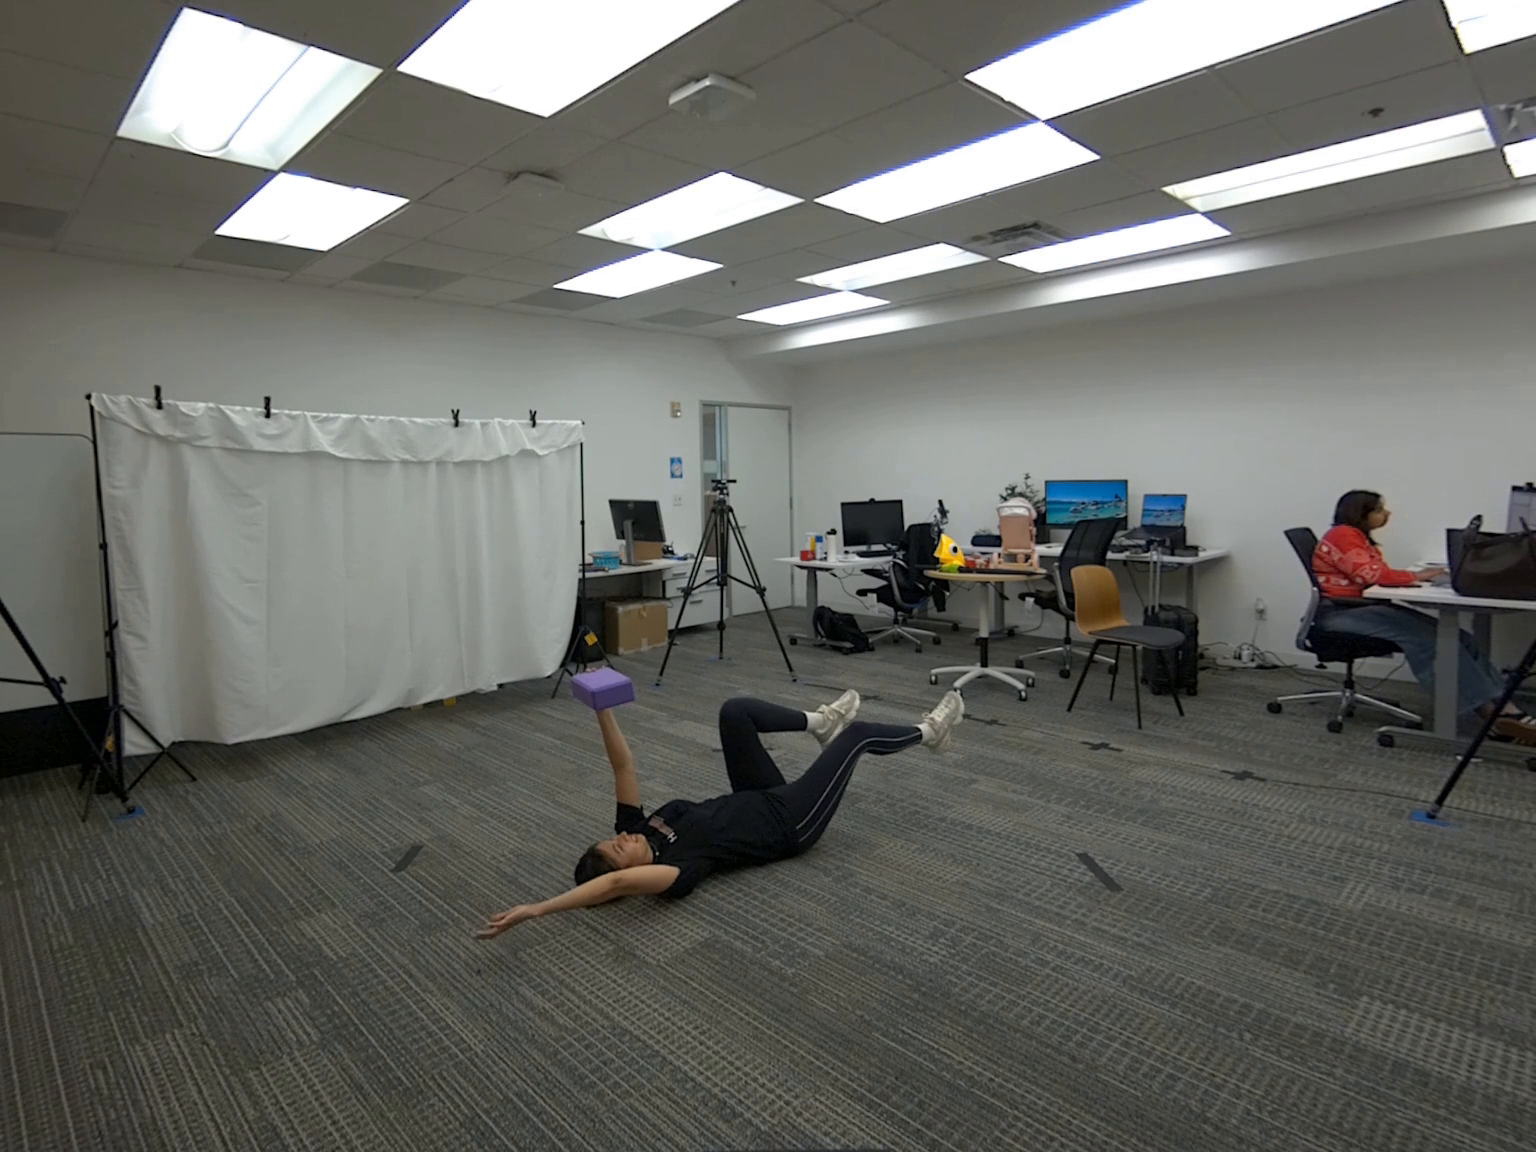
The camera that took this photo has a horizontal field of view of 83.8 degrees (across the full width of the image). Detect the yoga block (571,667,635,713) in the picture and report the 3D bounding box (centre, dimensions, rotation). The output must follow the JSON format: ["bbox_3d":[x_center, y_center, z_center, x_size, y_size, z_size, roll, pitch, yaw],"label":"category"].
[{"bbox_3d":[-0.574,0.382,2.898,0.146,0.076,0.235,-11,11,-26],"label":"yoga block"}]
